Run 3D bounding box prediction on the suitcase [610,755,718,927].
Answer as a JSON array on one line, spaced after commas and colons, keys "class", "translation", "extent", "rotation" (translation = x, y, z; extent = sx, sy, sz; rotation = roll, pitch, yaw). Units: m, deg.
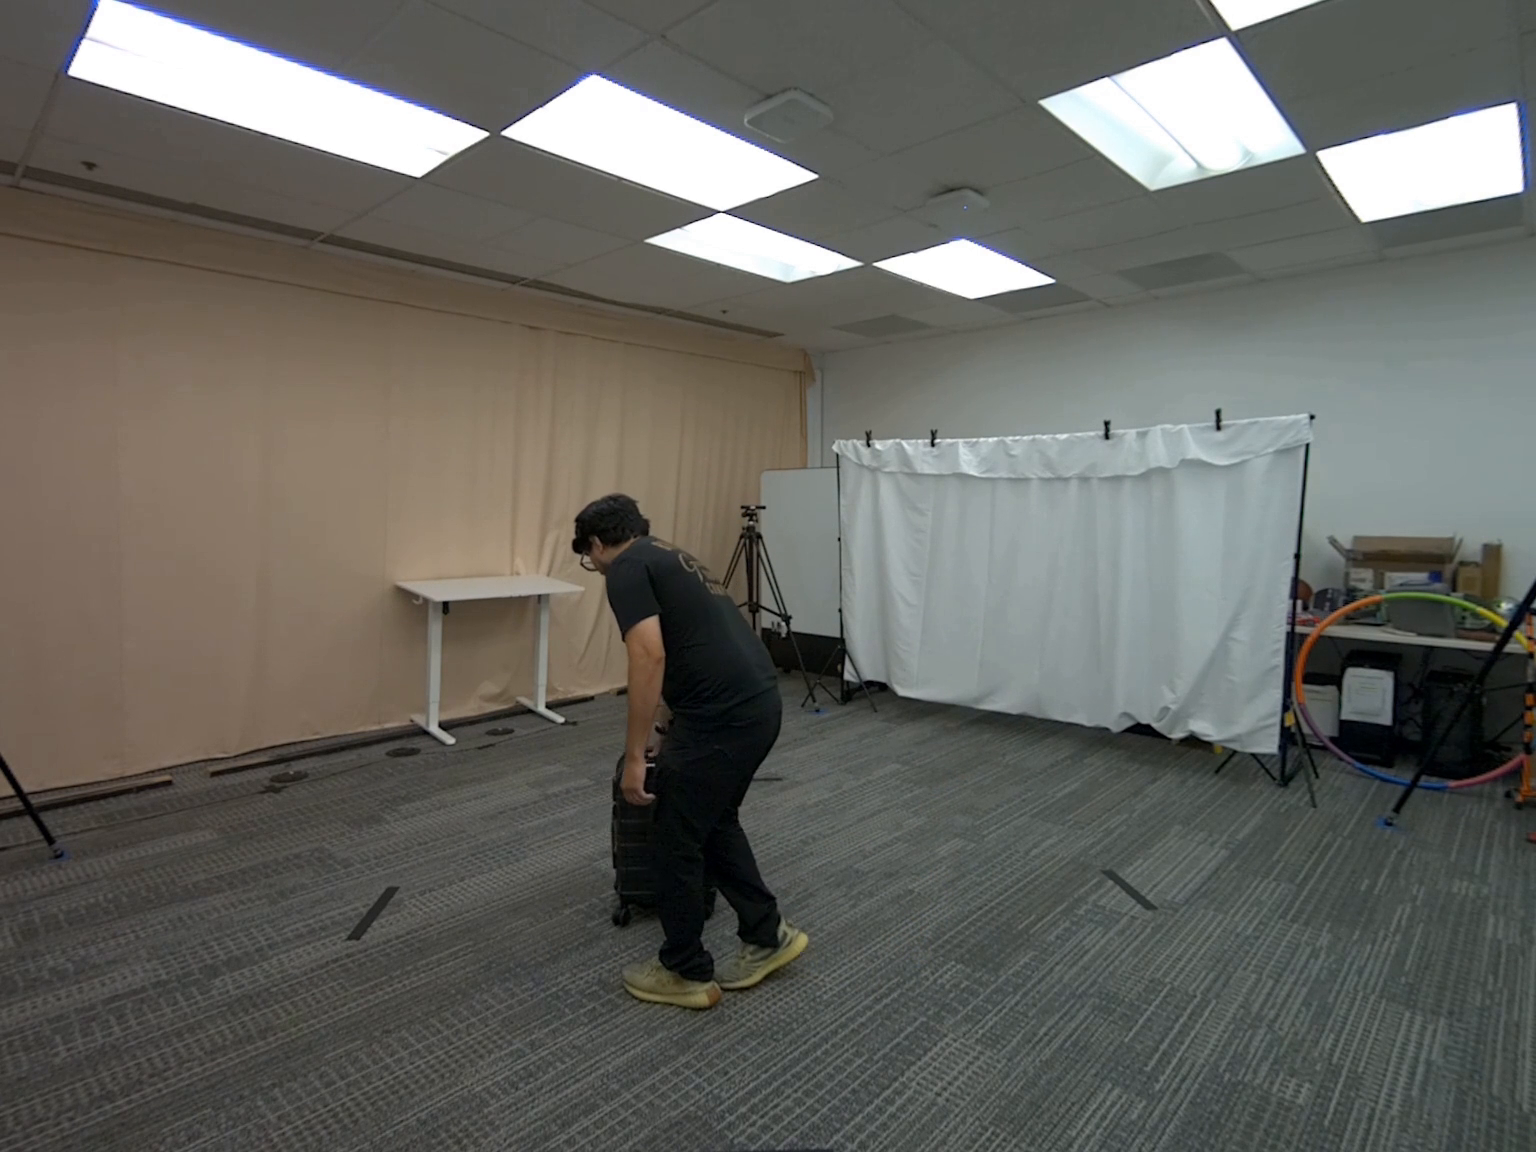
[{"class": "suitcase", "translation": [-0.350, 0.879, 2.922], "extent": [0.373, 0.549, 0.250], "rotation": [0, 1, -6]}]
